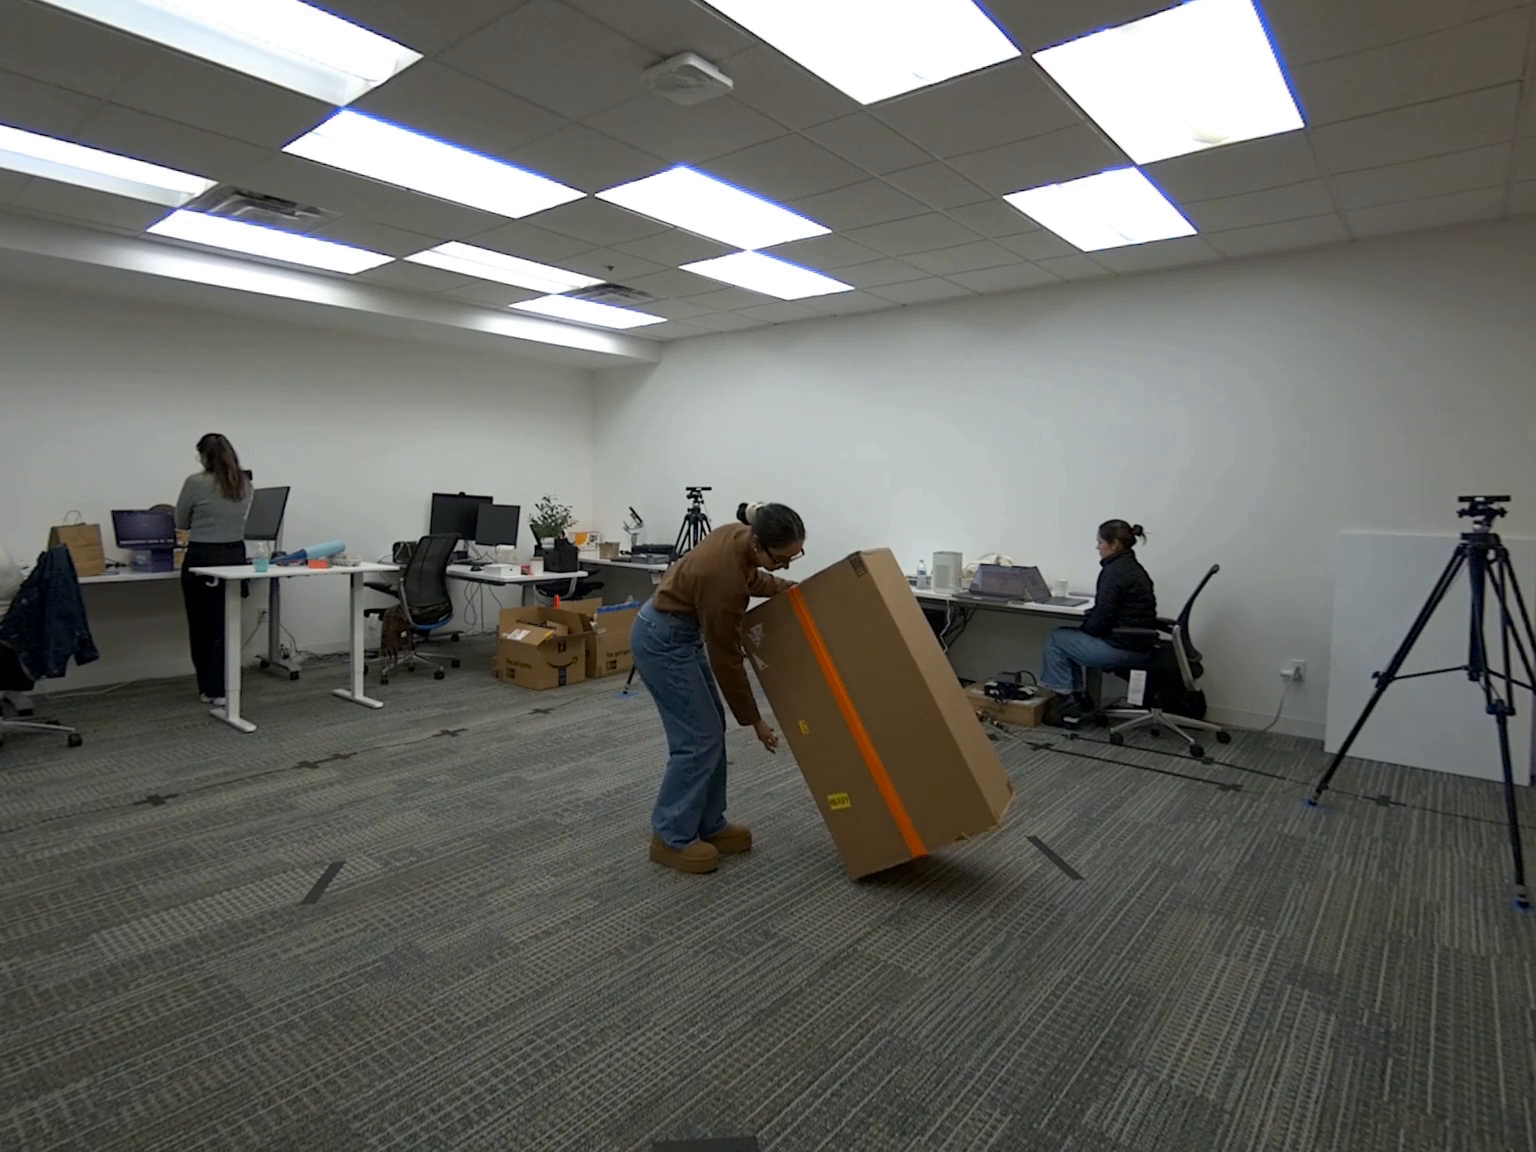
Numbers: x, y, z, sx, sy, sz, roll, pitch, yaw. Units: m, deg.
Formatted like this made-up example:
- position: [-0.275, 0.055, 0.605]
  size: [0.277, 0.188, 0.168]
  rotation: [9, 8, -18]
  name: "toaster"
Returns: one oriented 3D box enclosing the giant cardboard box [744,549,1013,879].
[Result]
- position: [0.382, 0.485, 3.191]
  size: [0.583, 1.042, 0.415]
  rotation: [-30, -12, 24]
  name: "giant cardboard box"
